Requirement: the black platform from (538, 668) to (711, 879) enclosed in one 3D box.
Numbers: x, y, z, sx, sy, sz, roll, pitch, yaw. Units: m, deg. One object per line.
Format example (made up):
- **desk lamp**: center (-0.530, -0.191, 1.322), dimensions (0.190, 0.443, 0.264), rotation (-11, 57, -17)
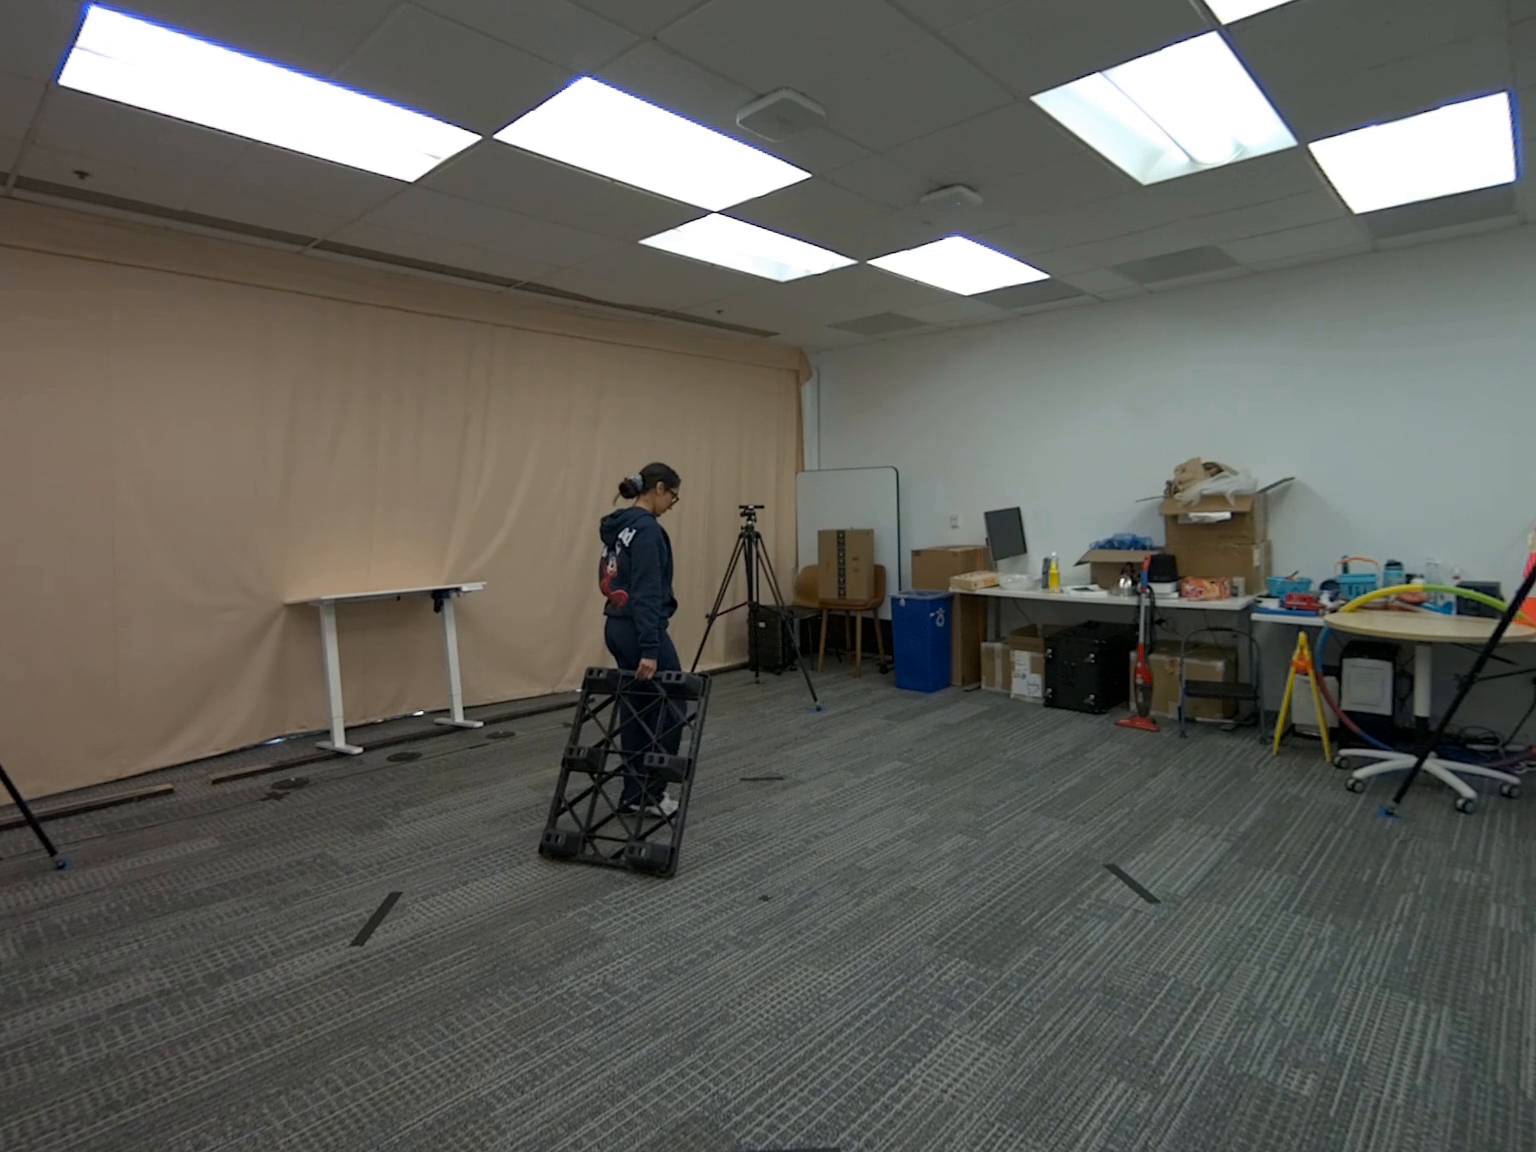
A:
- **black platform**: center (-0.582, 0.754, 3.397), dimensions (0.619, 0.813, 0.139), rotation (-1, -28, 22)
